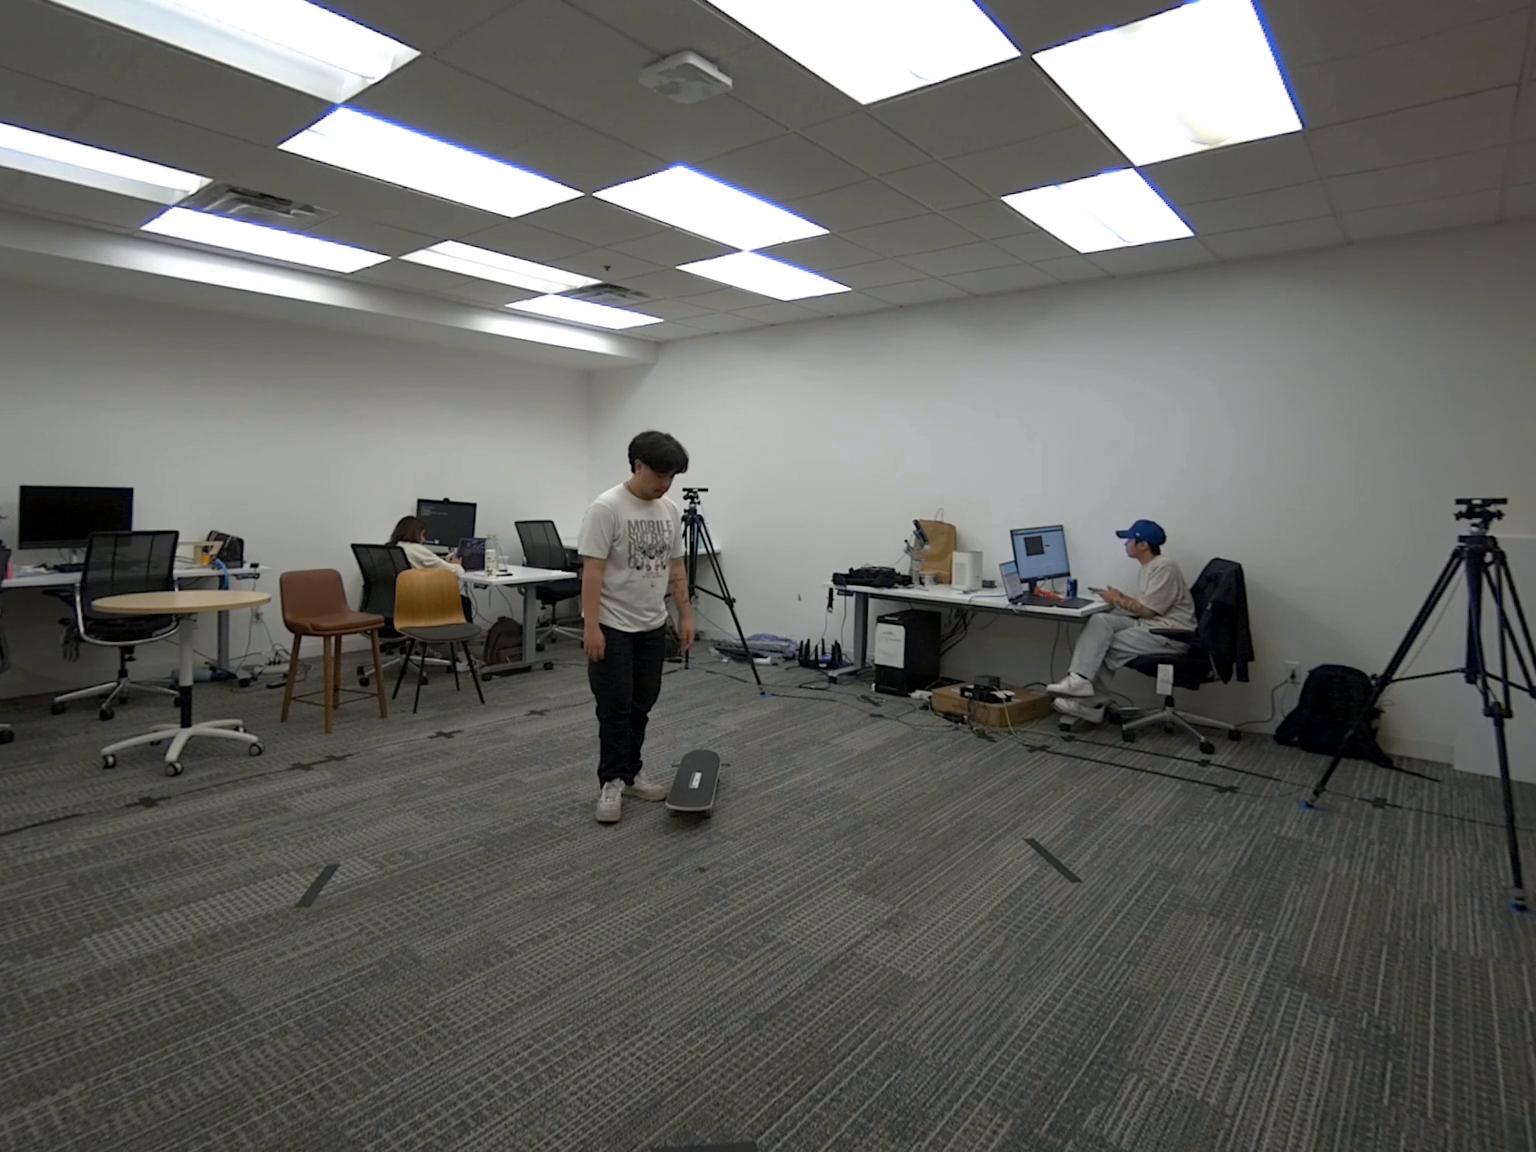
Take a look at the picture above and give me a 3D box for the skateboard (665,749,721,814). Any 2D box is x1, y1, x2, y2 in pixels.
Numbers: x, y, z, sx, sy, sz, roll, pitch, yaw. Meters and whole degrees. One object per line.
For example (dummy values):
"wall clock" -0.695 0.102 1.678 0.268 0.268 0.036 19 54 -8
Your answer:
"skateboard" -0.343 0.938 3.802 0.194 0.110 0.785 1 6 2
